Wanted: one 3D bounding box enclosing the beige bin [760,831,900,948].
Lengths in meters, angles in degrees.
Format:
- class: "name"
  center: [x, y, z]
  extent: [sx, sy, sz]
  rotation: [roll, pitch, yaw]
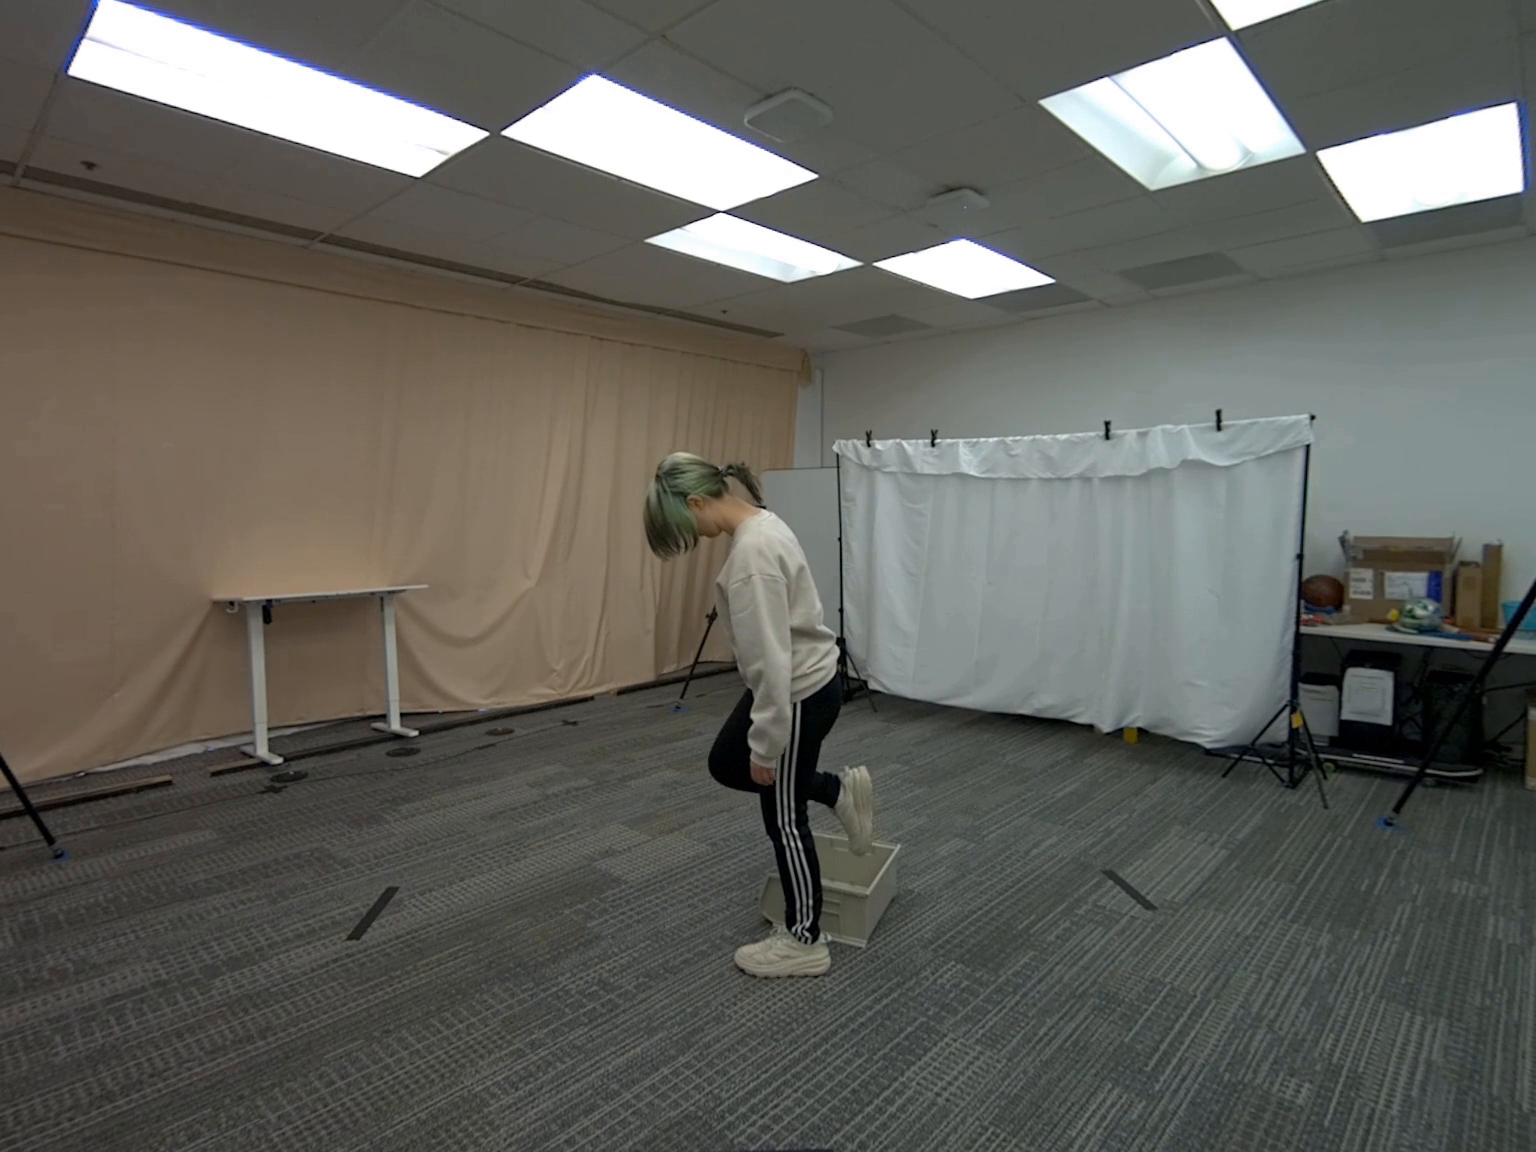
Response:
- class: "beige bin"
  center: [0.224, 1.058, 2.902]
  extent: [0.387, 0.188, 0.413]
  rotation: [3, 5, 24]
